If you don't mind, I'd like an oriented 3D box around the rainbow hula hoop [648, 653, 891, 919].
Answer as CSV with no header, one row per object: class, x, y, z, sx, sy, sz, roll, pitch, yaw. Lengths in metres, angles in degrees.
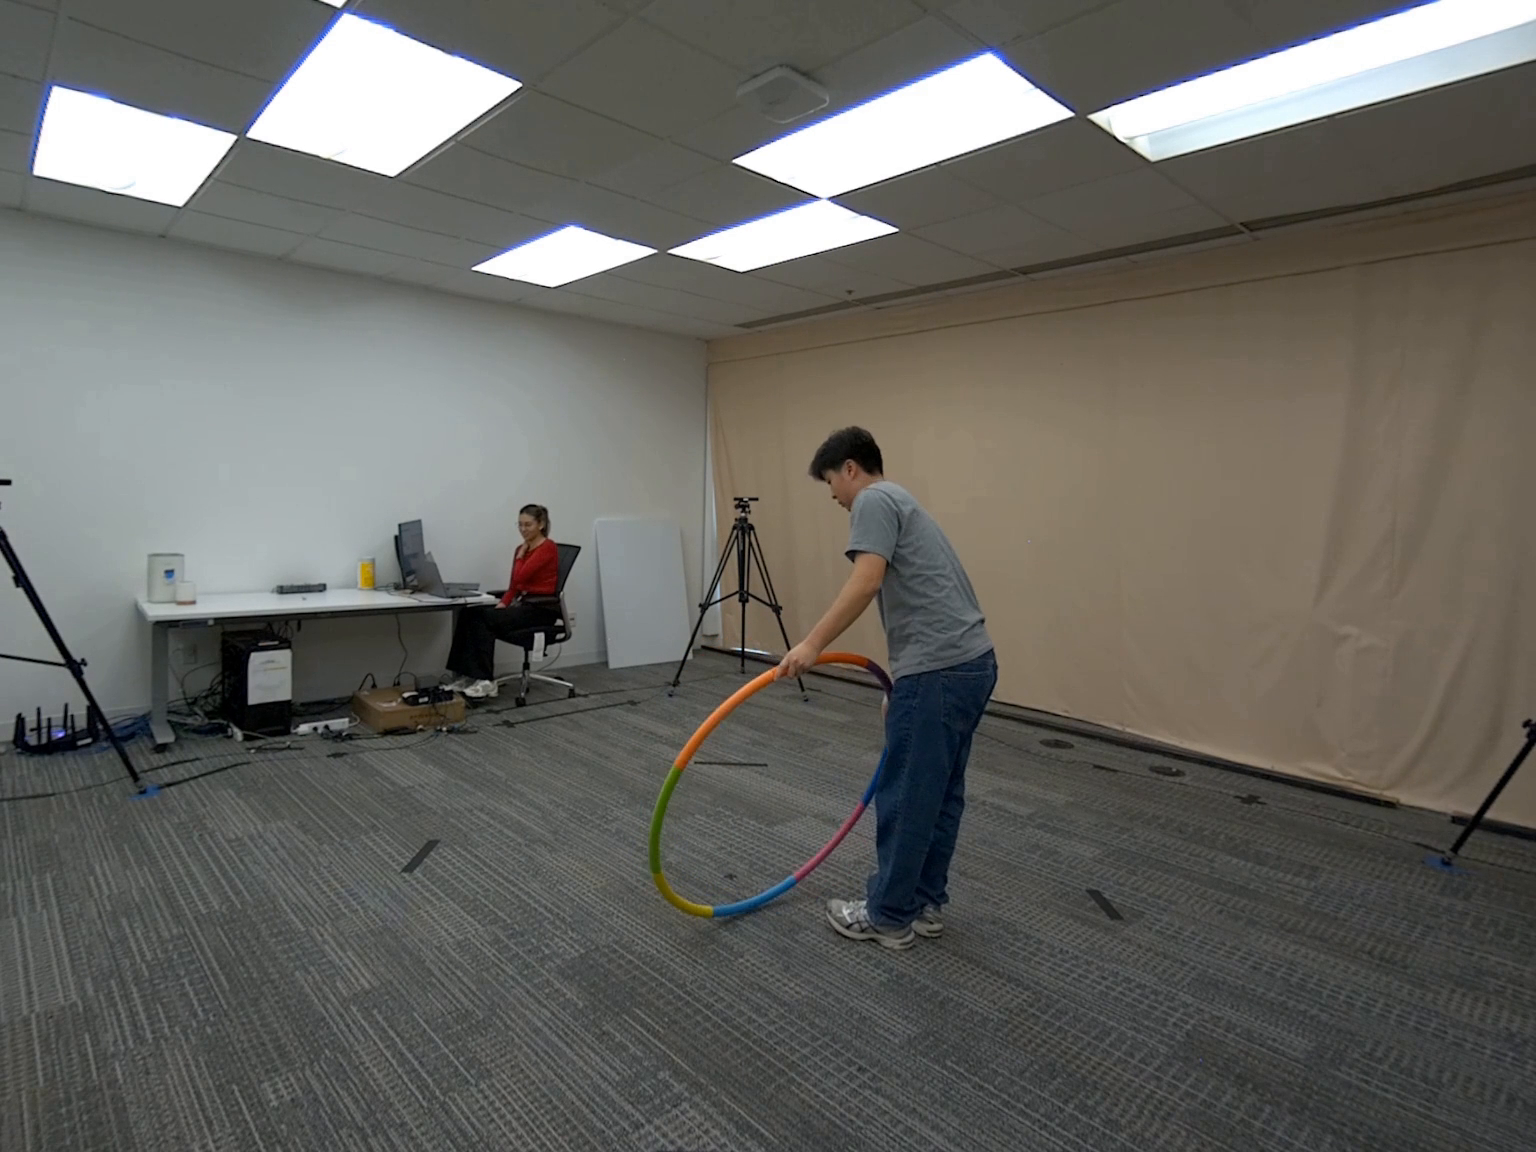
rainbow hula hoop,0.037,0.666,2.691,0.957,0.969,0.037,-2,27,-39
